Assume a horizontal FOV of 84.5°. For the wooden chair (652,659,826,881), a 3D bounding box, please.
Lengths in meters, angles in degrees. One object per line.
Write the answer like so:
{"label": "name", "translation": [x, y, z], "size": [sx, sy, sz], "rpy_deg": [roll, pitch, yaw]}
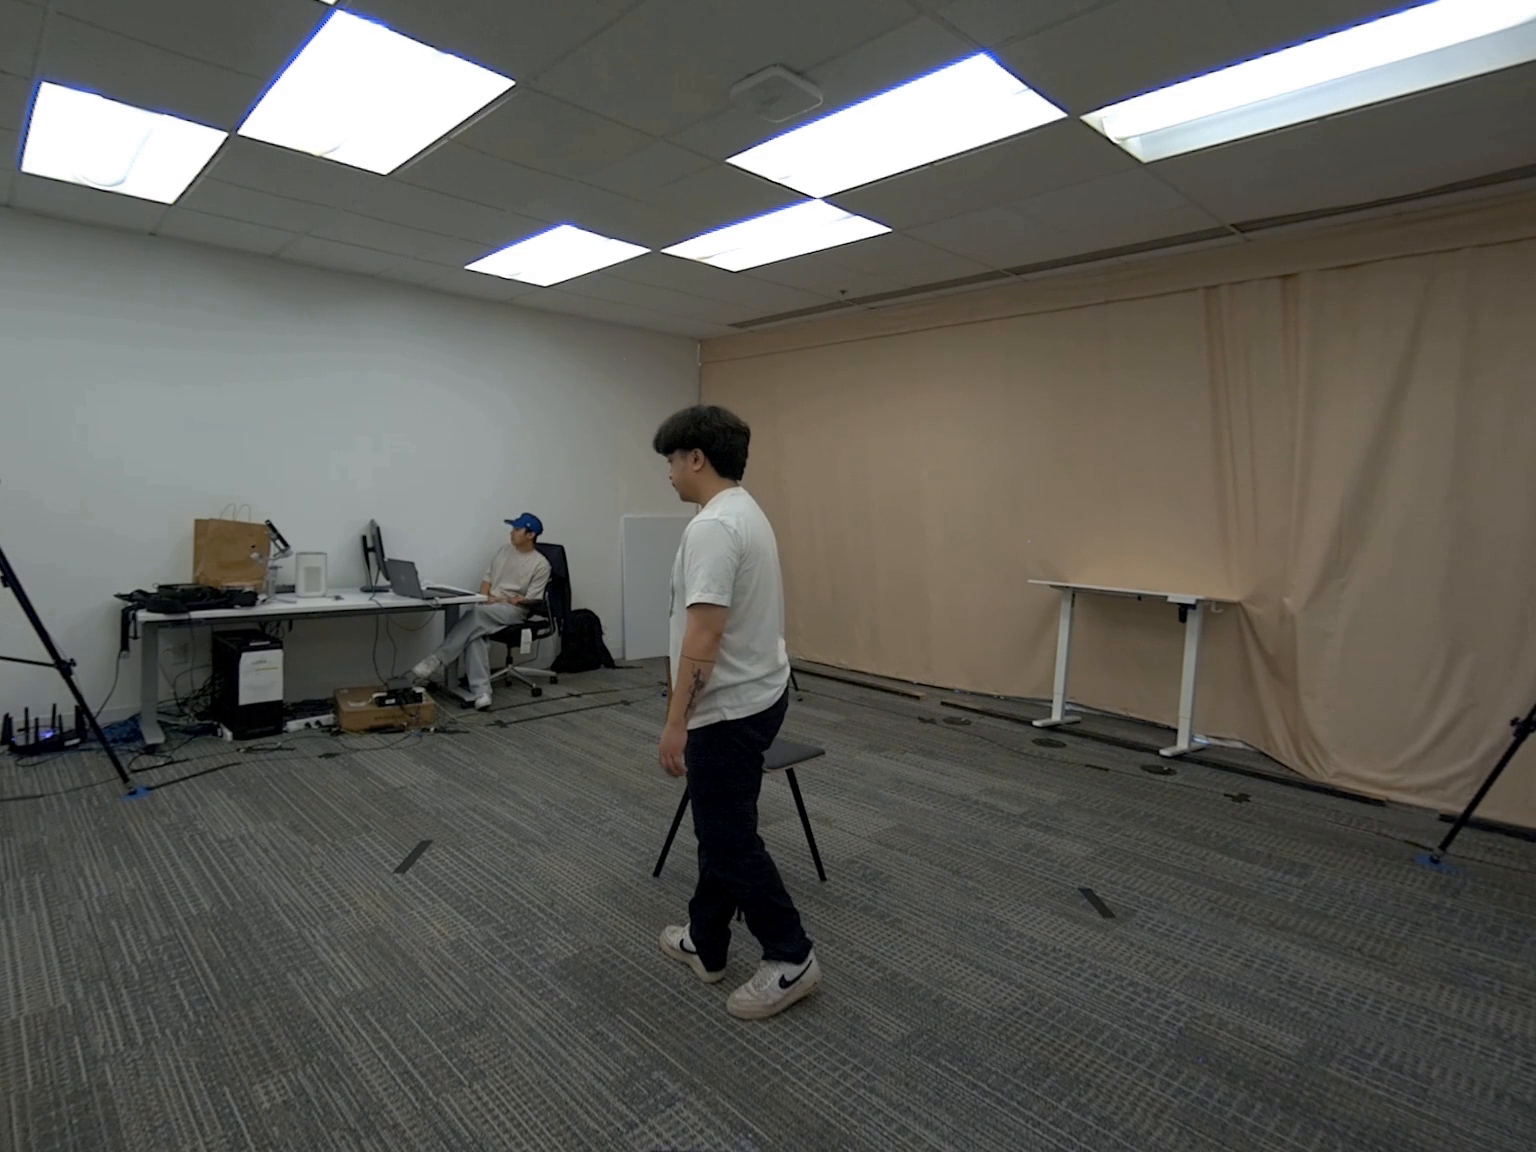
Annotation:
{"label": "wooden chair", "translation": [-0.093, 0.686, 3.062], "size": [0.490, 0.873, 0.512], "rpy_deg": [4, 9, 45]}
